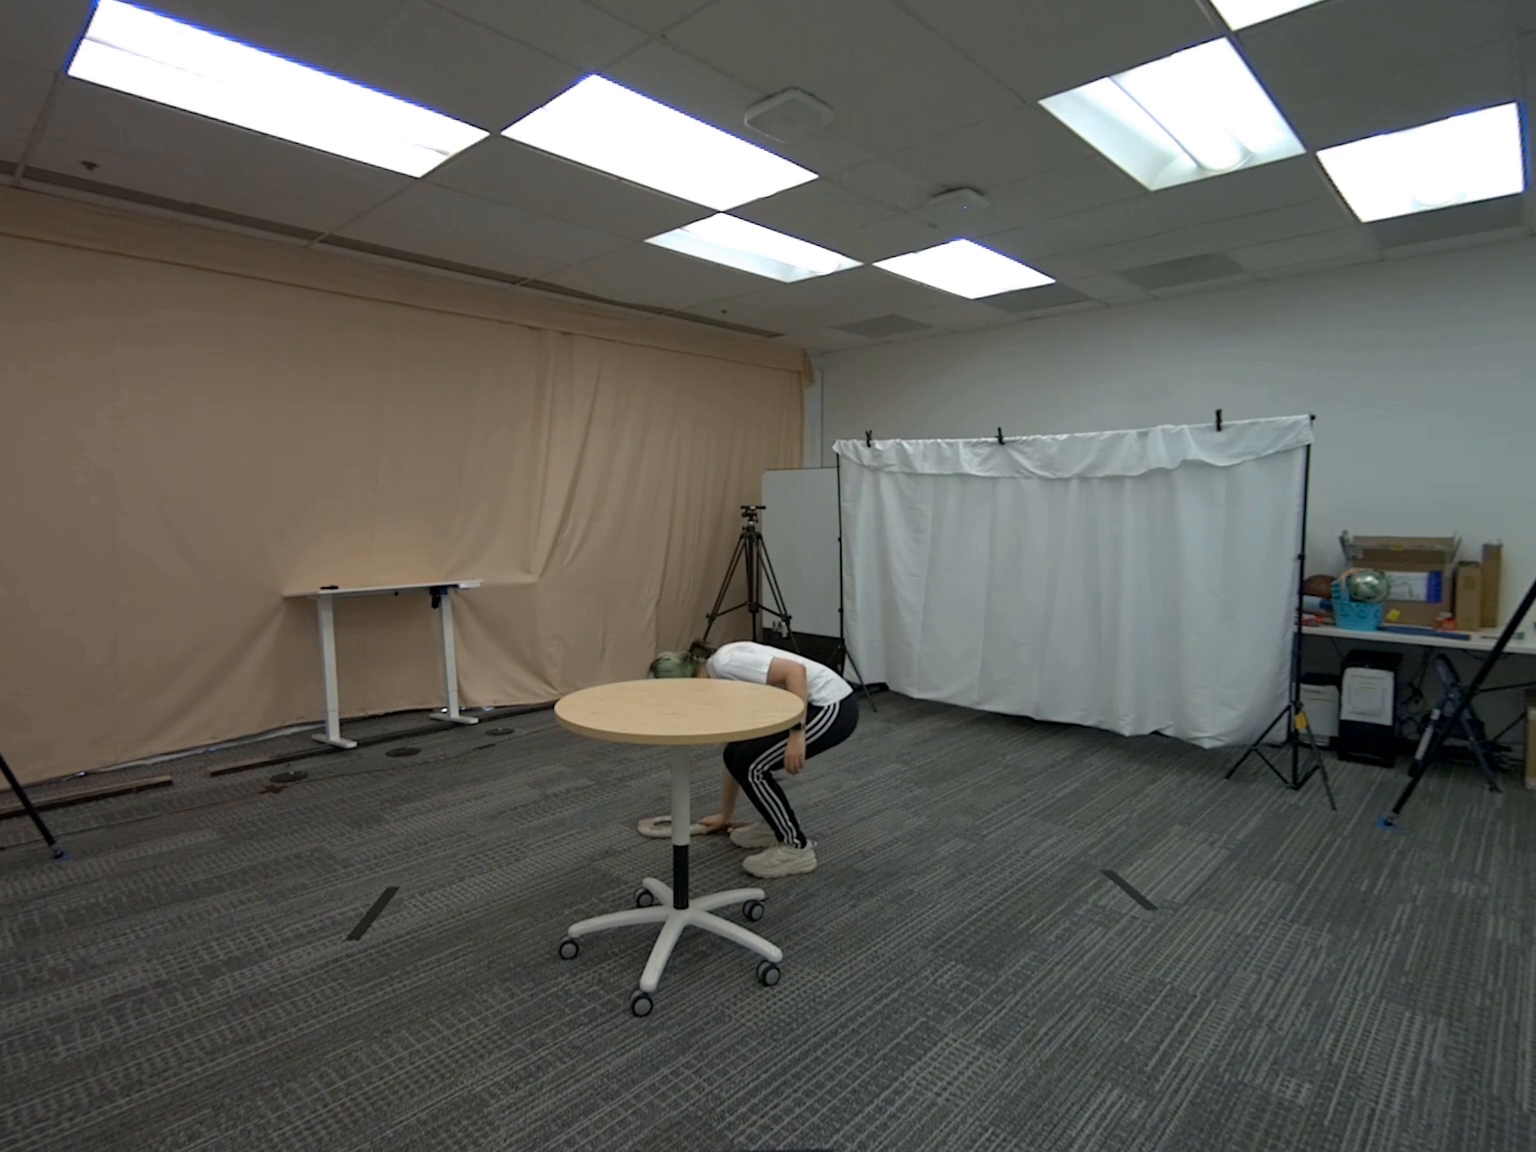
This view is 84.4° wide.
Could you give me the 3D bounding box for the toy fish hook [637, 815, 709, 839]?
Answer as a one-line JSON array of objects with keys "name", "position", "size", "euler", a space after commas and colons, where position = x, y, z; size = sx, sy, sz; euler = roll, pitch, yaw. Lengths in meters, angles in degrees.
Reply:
[{"name": "toy fish hook", "position": [-0.311, 1.072, 3.635], "size": [0.505, 0.048, 0.226], "euler": [0, 8, -2]}]
